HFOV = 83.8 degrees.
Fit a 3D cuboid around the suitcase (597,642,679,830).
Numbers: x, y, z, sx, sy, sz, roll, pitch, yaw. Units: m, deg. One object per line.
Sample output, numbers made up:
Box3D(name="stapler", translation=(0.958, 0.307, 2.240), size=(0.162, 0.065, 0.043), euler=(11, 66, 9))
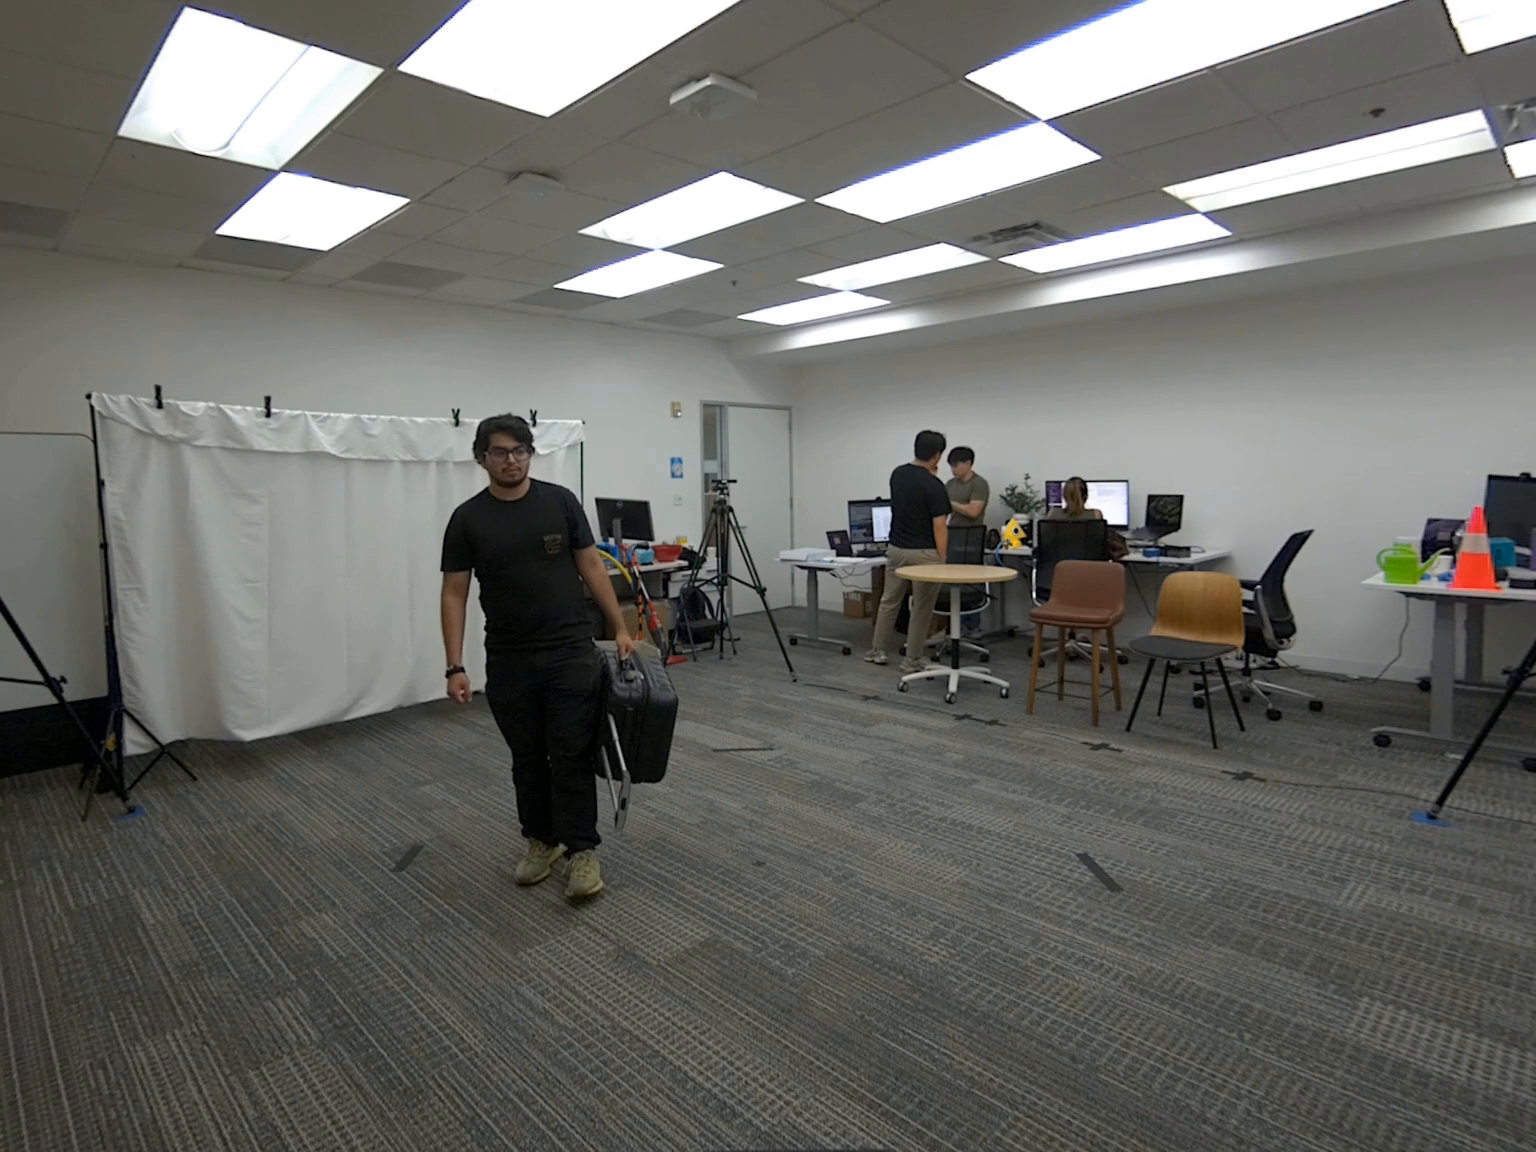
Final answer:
Box3D(name="suitcase", translation=(-0.437, 0.540, 2.921), size=(0.252, 0.381, 1.002), euler=(8, 10, -18))
